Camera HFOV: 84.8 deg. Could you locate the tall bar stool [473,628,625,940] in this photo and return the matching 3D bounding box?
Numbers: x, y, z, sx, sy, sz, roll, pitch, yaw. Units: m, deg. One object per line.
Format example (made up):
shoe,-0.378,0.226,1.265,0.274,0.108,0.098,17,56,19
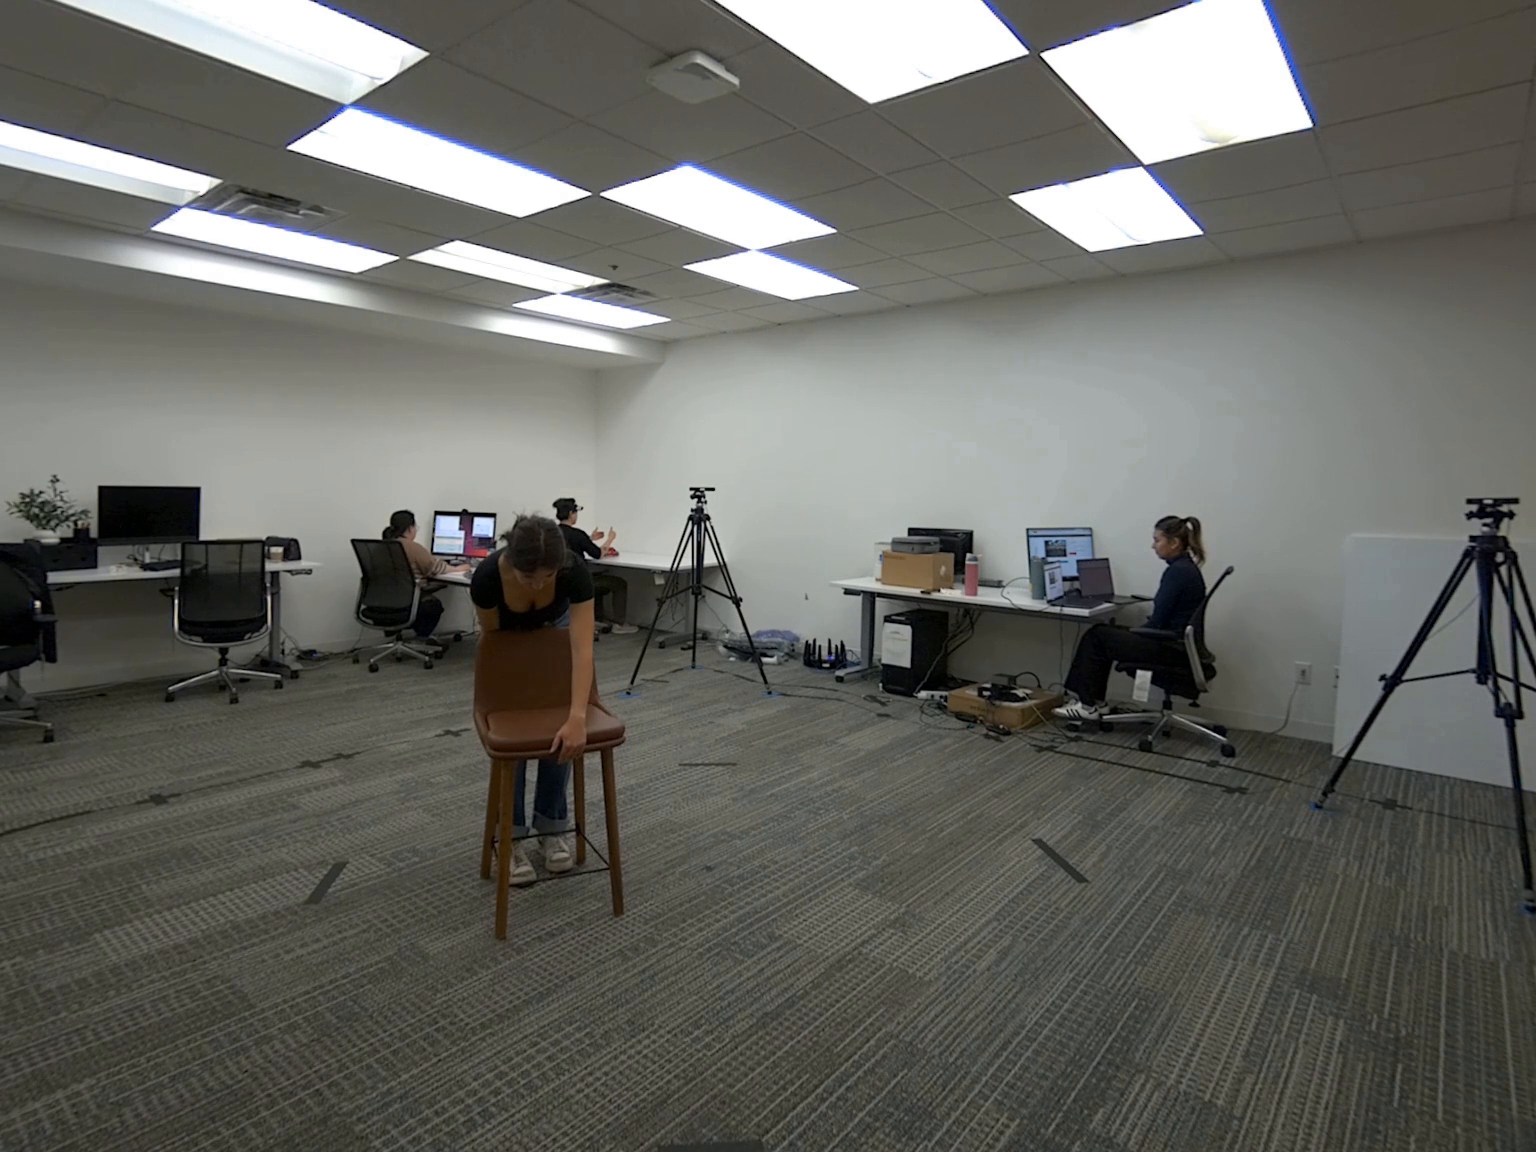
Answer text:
tall bar stool,-0.754,0.644,2.861,0.445,0.889,0.480,-1,2,-26
